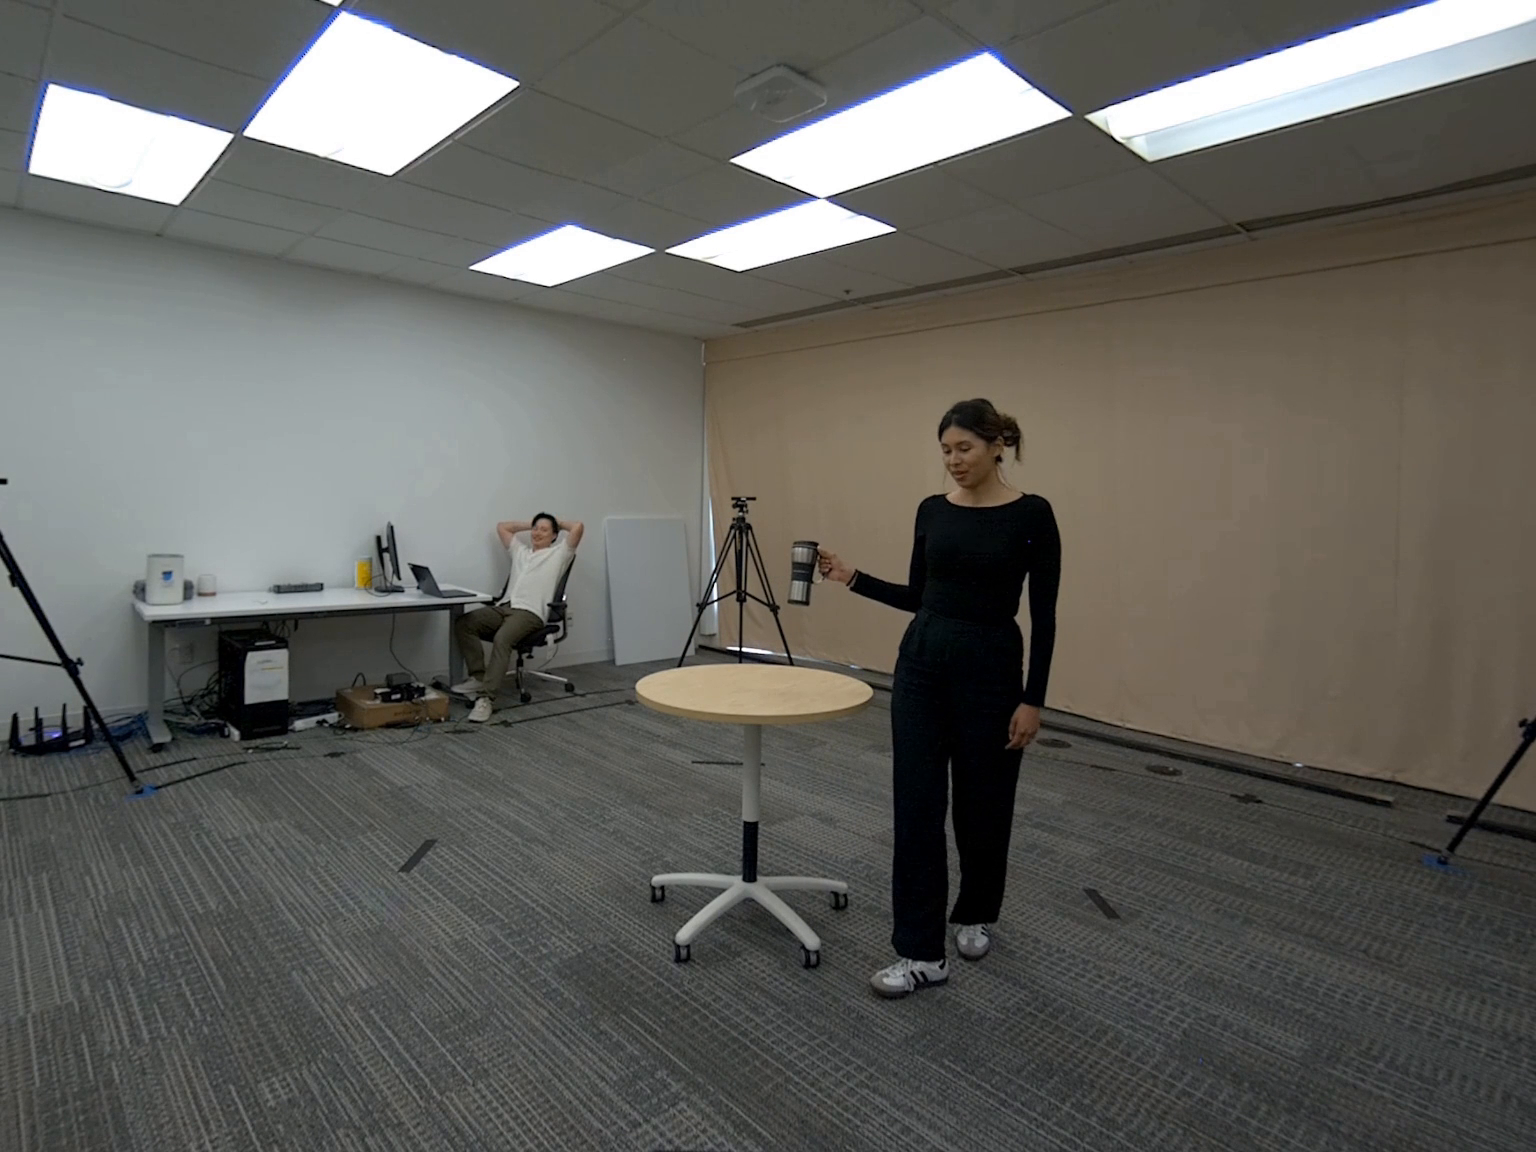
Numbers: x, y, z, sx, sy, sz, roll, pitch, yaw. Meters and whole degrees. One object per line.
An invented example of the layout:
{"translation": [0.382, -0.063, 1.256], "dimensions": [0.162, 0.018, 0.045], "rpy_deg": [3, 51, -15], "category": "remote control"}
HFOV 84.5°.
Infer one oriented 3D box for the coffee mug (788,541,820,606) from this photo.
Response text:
{"translation": [0.125, -0.006, 2.691], "dimensions": [0.124, 0.204, 0.085], "rpy_deg": [0, -11, 31], "category": "coffee mug"}
